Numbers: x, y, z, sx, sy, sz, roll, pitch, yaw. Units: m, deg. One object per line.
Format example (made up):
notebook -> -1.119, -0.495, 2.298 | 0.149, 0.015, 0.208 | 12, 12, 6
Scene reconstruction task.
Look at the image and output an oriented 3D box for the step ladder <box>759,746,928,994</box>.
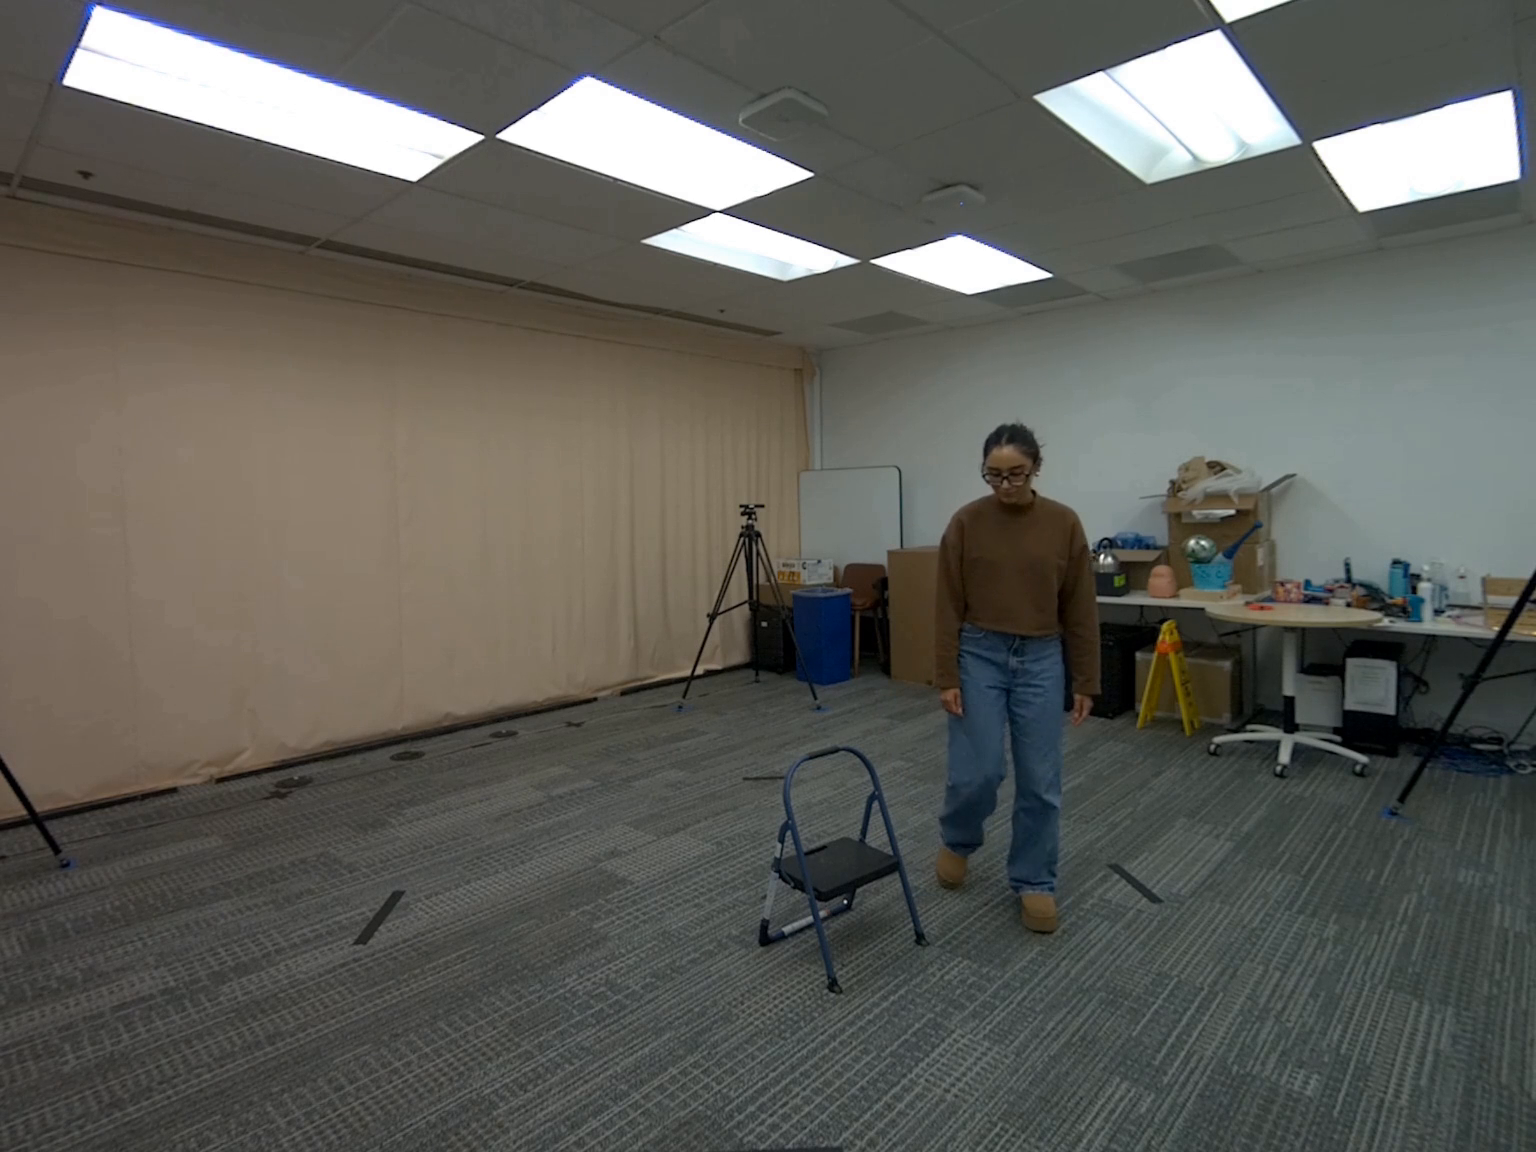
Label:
step ladder -> 0.236, 0.863, 2.642 | 0.417, 0.605, 0.361 | -3, 4, -40
